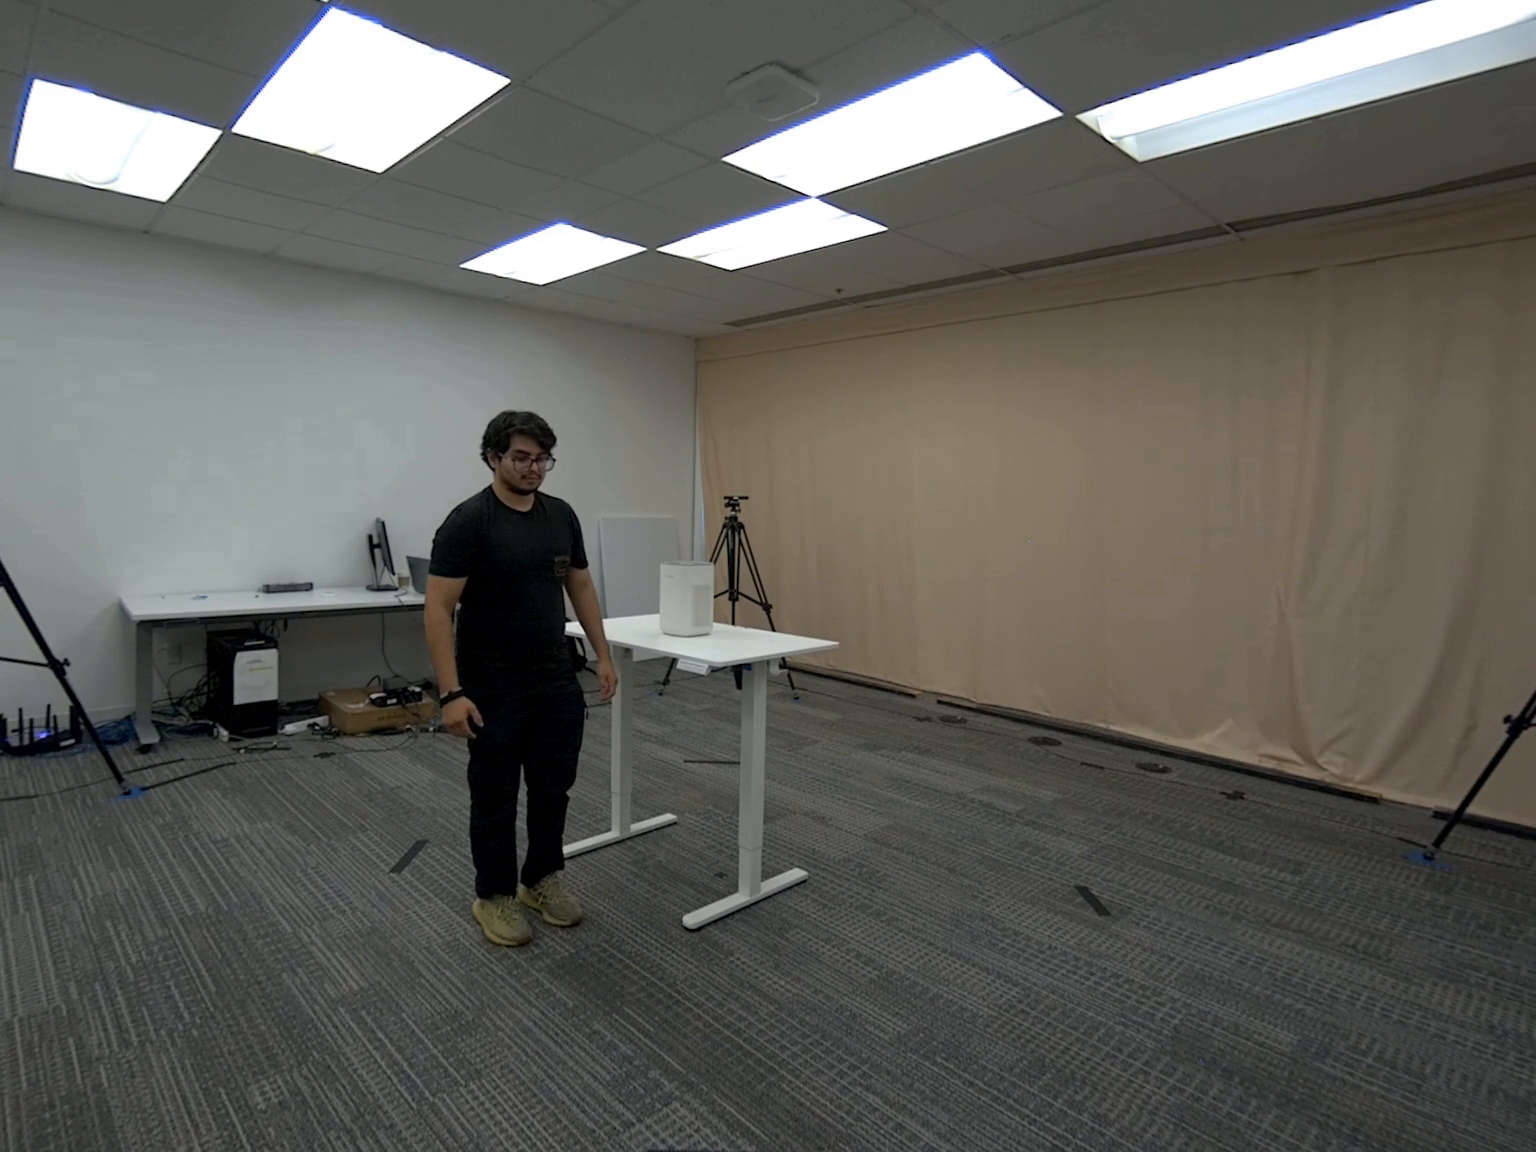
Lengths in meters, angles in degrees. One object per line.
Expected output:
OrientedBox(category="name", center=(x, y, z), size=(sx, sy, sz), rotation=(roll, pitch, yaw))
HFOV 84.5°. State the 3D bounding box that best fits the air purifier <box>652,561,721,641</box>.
OrientedBox(category="air purifier", center=(-0.302, 0.085, 3.115), size=(0.167, 0.265, 0.175), rotation=(-1, 5, -45))
